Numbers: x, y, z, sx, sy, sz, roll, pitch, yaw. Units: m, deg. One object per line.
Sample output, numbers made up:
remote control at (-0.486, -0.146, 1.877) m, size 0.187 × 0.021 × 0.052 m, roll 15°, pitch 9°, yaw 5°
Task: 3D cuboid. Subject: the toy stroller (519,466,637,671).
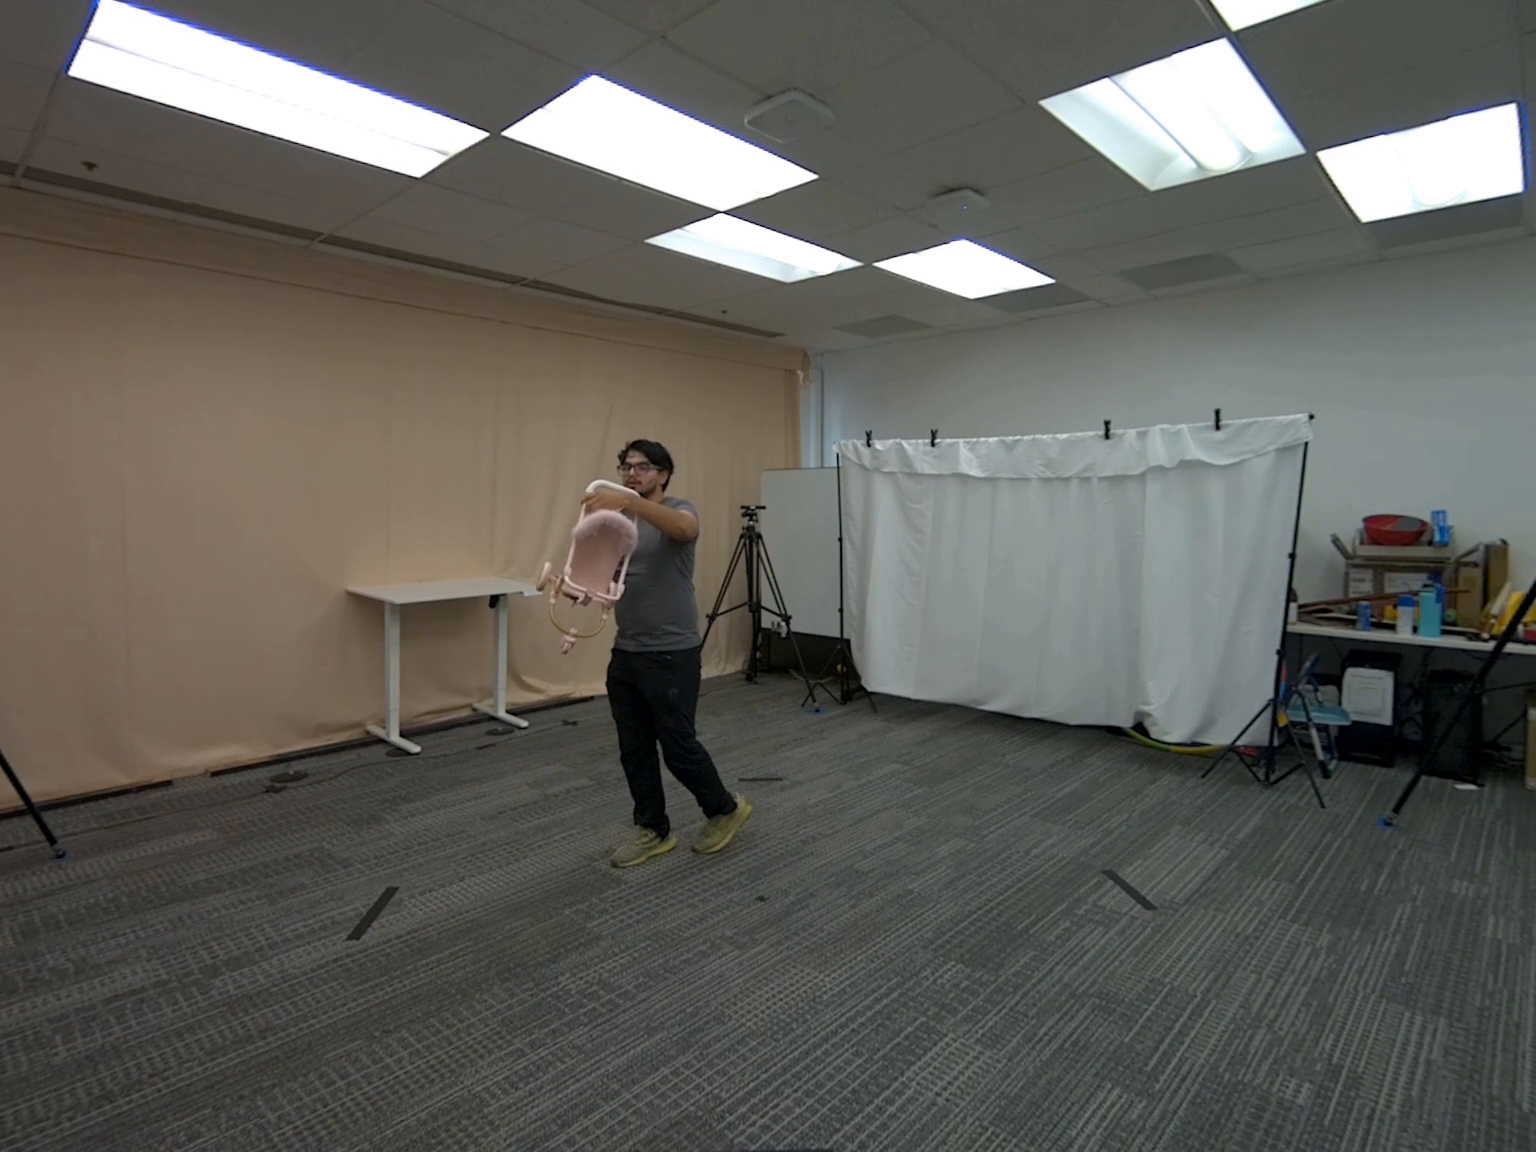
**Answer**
toy stroller at (-0.596, -0.028, 2.874) m, size 0.275 × 0.535 × 0.349 m, roll 22°, pitch 22°, yaw -19°
